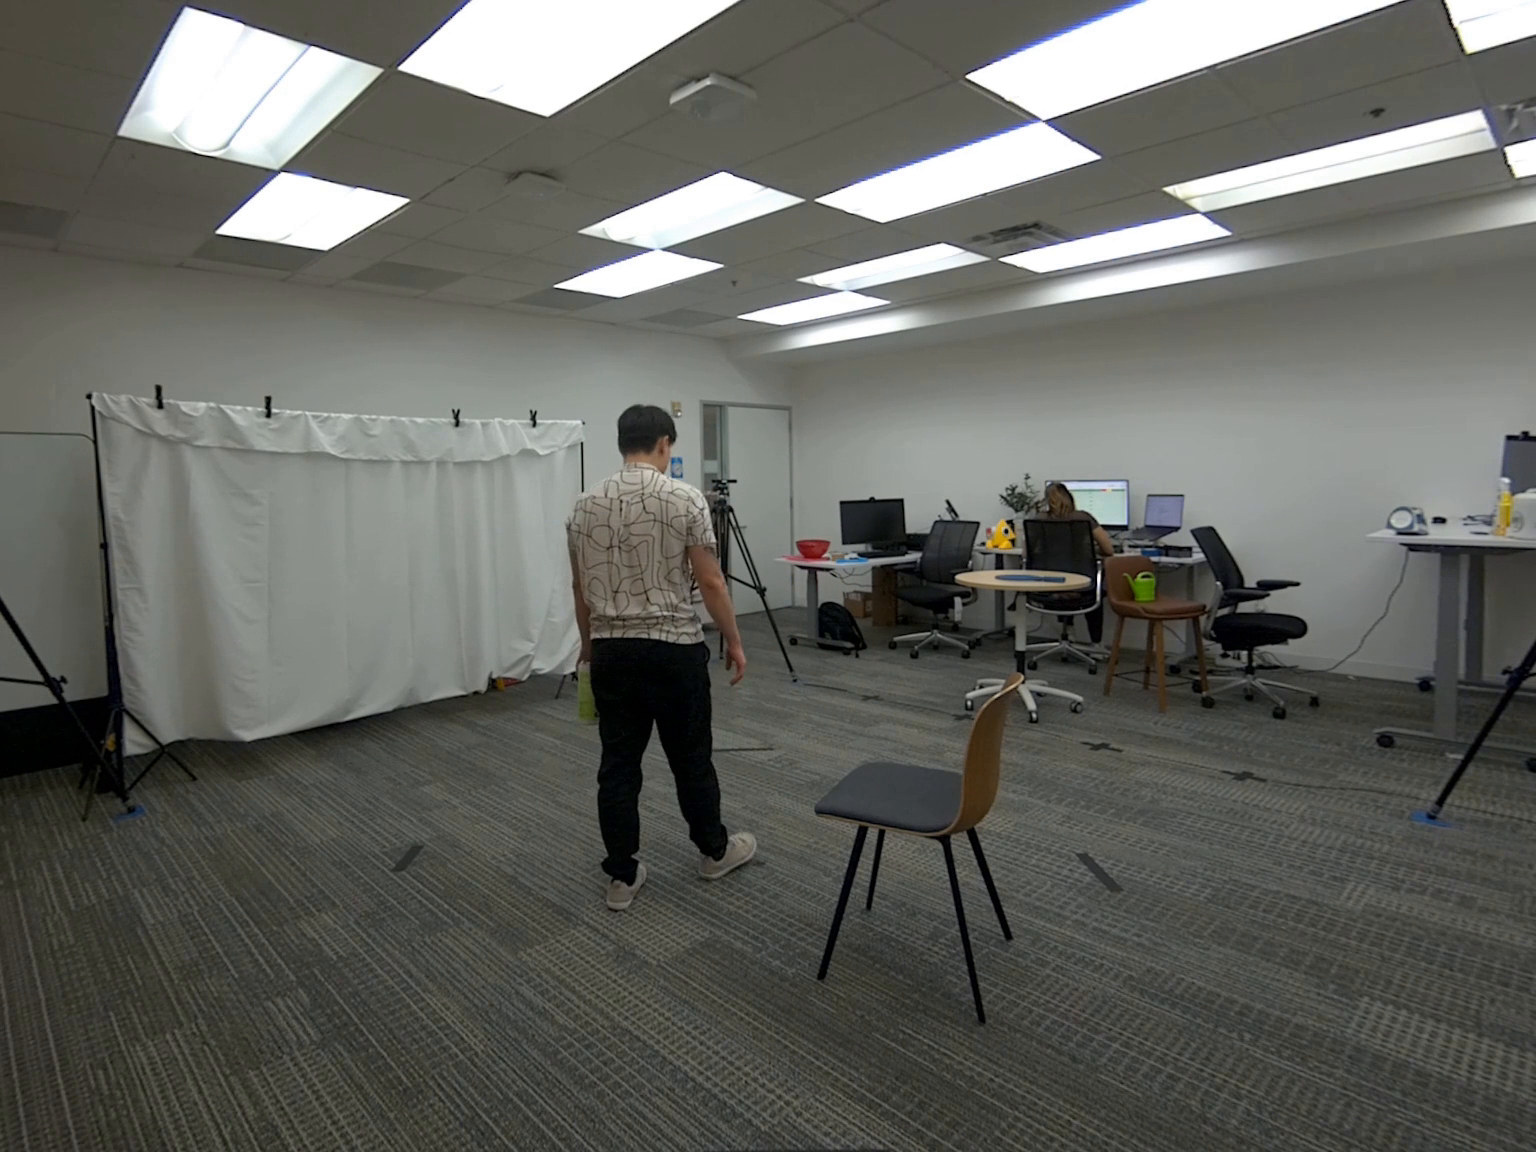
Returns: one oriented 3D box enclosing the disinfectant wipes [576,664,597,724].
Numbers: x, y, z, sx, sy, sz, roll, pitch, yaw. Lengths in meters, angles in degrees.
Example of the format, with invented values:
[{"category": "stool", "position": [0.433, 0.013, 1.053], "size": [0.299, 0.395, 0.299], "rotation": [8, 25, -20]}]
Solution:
[{"category": "disinfectant wipes", "position": [-0.631, 0.425, 3.078], "size": [0.118, 0.217, 0.118], "rotation": [0, 1, -2]}]
